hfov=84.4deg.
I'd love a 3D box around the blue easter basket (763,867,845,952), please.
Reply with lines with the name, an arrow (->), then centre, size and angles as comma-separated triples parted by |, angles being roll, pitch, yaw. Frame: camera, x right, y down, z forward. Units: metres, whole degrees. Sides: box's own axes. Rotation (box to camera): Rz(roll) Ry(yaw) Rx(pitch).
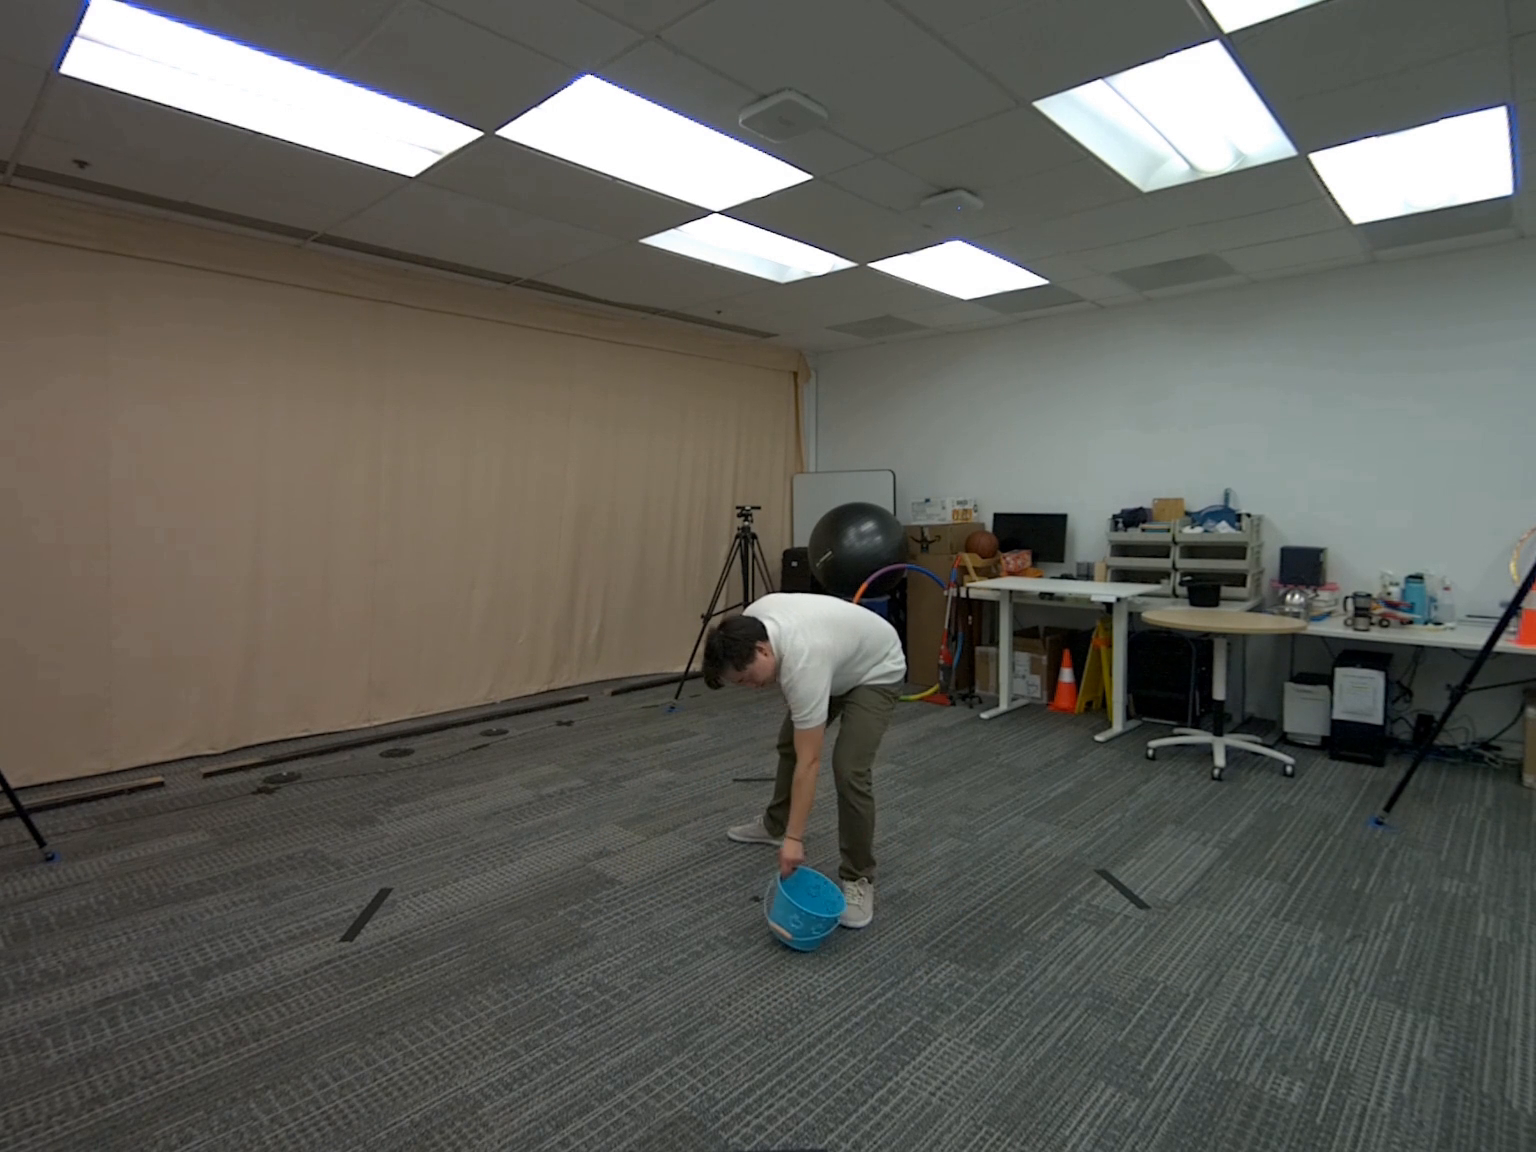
blue easter basket -> 0.124, 1.062, 2.693 | 0.242, 0.155, 0.246 | 21, 13, -7
